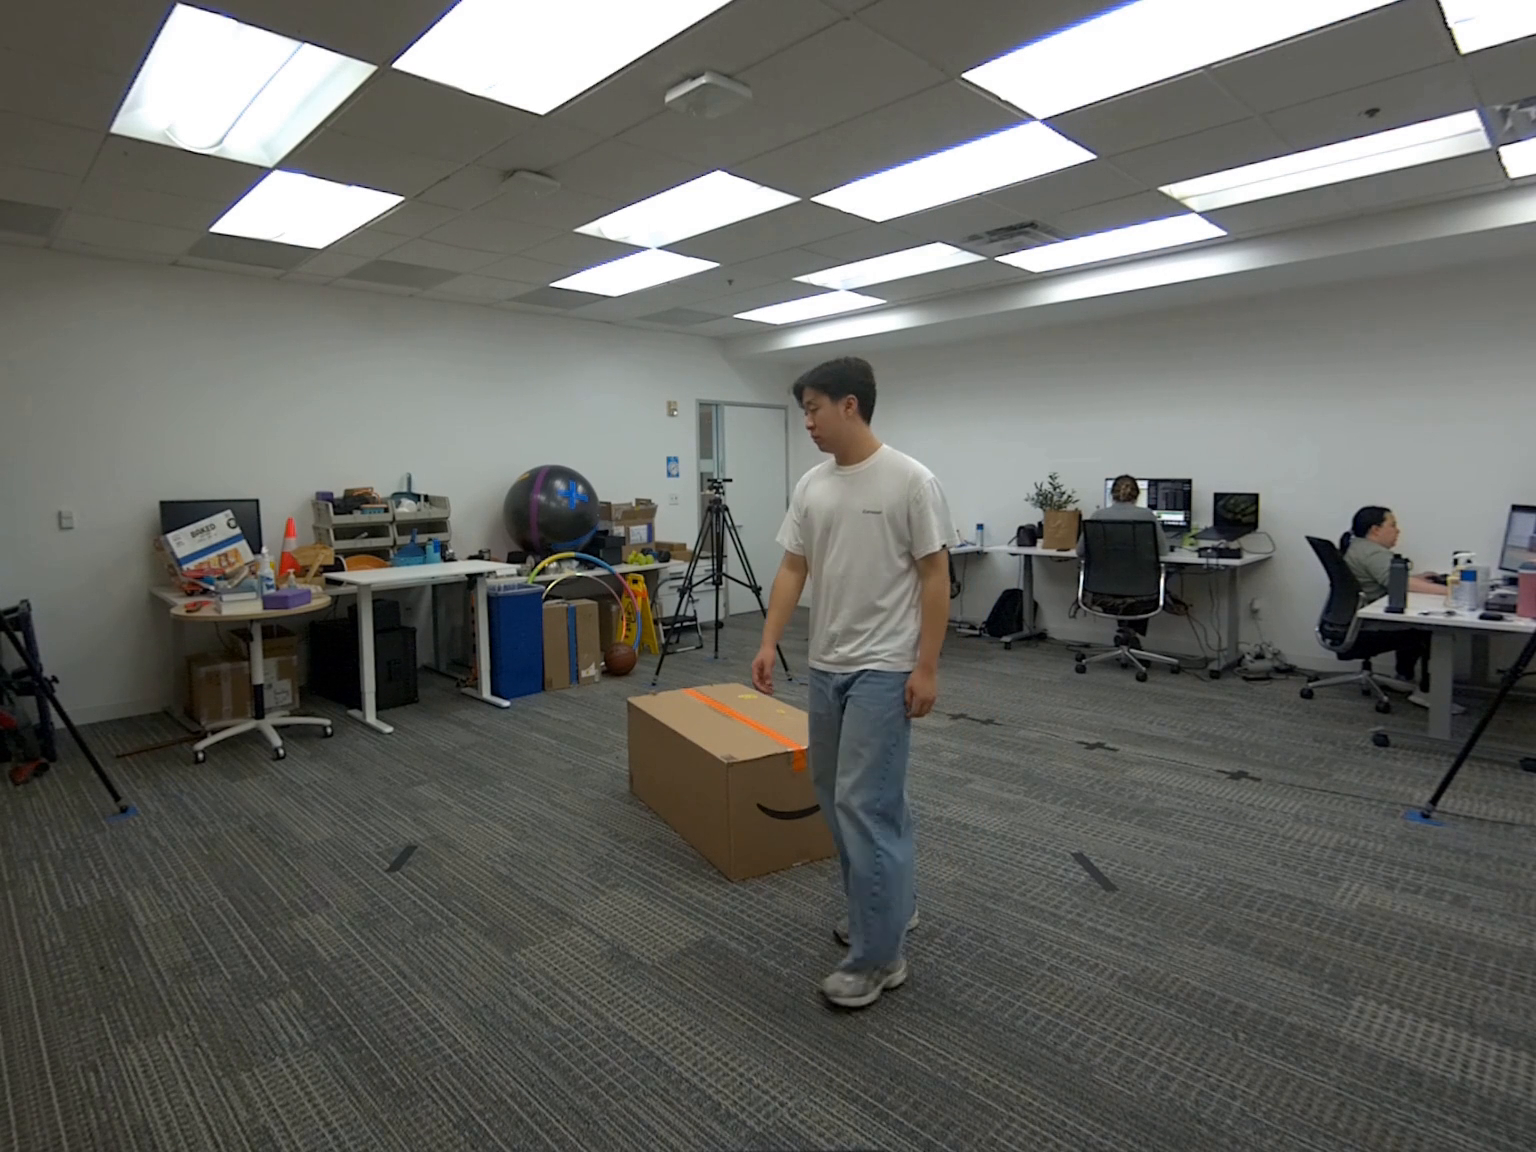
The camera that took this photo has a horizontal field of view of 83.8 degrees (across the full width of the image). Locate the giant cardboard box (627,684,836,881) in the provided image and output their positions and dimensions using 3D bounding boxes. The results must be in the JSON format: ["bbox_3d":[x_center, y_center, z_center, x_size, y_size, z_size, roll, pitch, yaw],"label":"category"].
[{"bbox_3d":[-0.136,0.786,3.526,0.564,0.424,1.054,-3,6,-29],"label":"giant cardboard box"}]
